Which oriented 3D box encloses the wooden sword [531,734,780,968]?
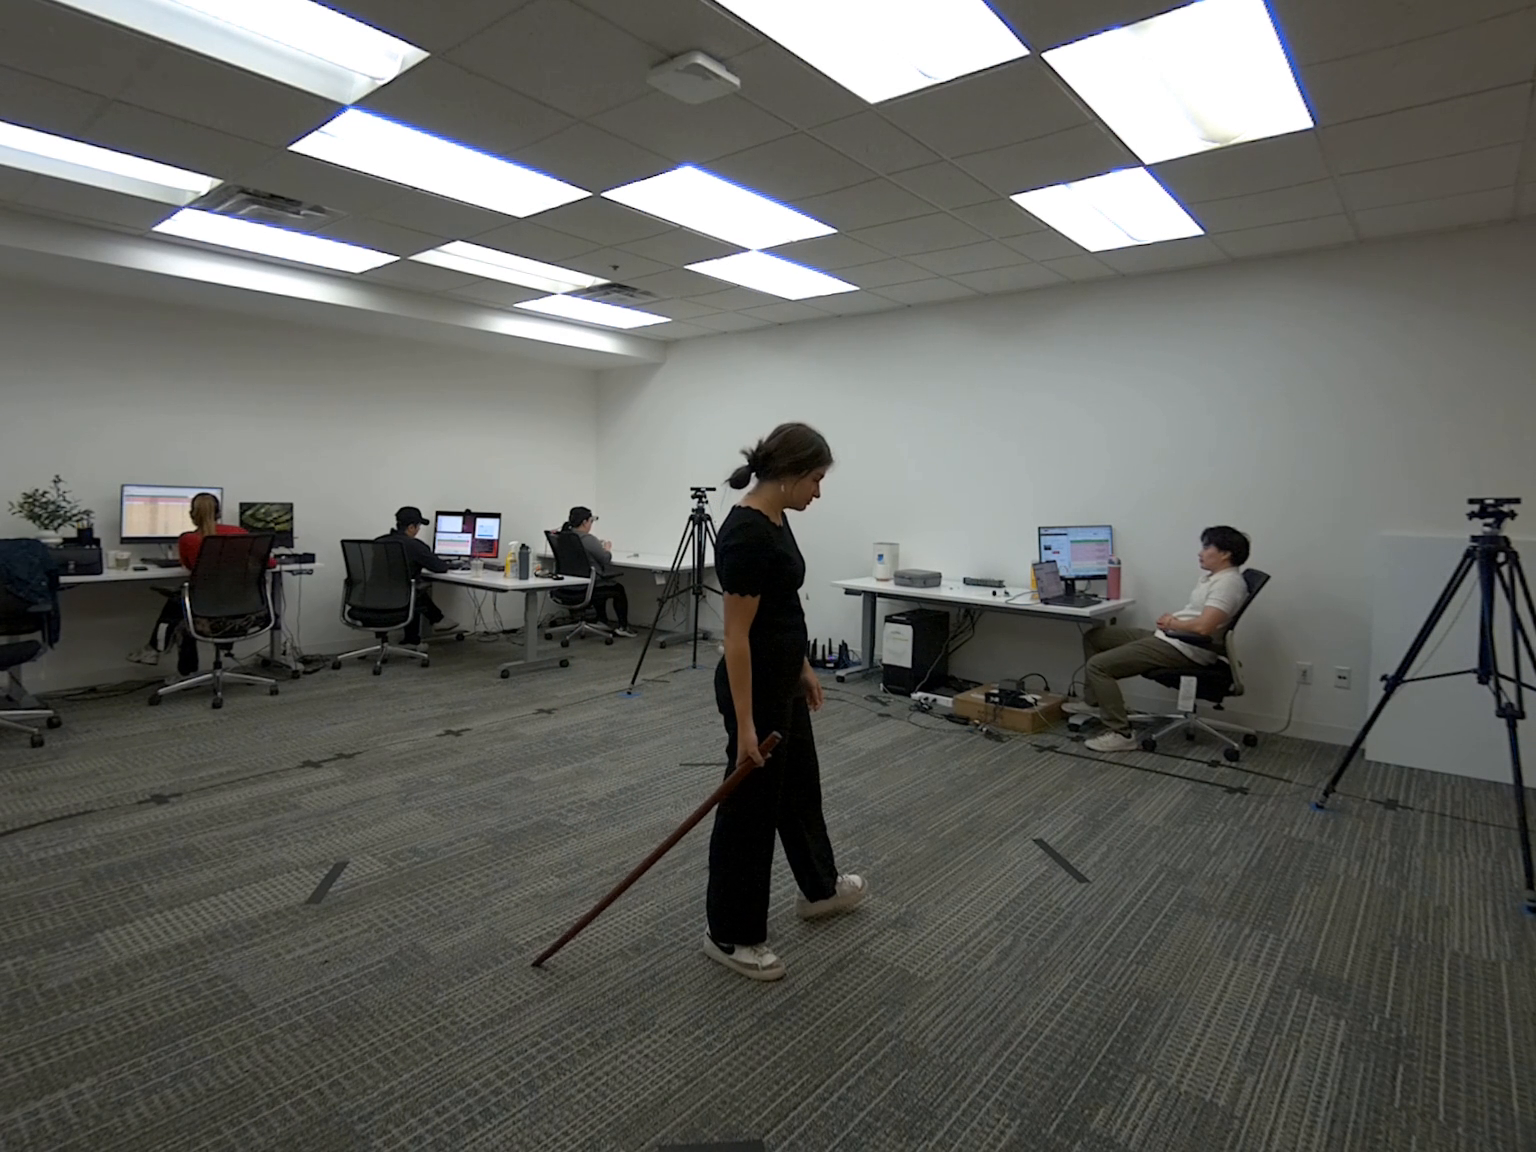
[{"bbox_3d":[-0.322,0.776,2.343,1.026,0.024,0.050,-44,-7,14],"label":"wooden sword"}]
